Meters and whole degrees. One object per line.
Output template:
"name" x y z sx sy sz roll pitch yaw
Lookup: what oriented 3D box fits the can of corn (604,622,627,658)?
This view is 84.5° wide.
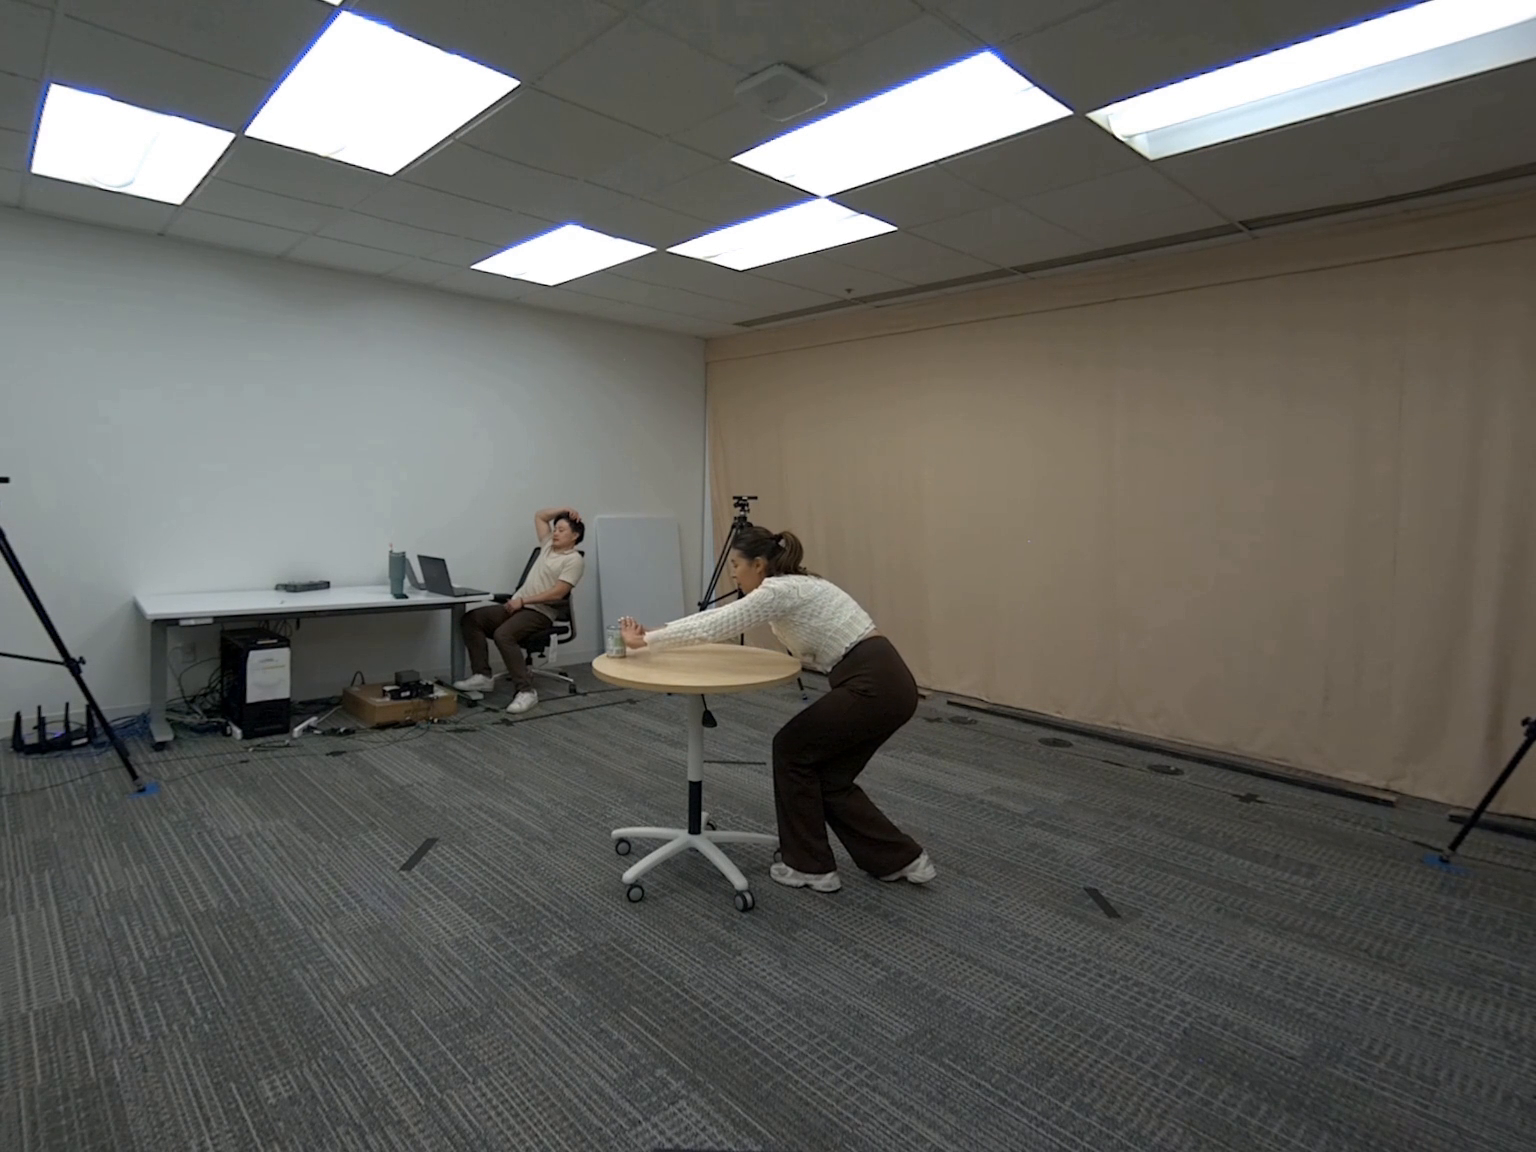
"can of corn" -0.571 0.249 3.169 0.074 0.111 0.074 1 2 -1
